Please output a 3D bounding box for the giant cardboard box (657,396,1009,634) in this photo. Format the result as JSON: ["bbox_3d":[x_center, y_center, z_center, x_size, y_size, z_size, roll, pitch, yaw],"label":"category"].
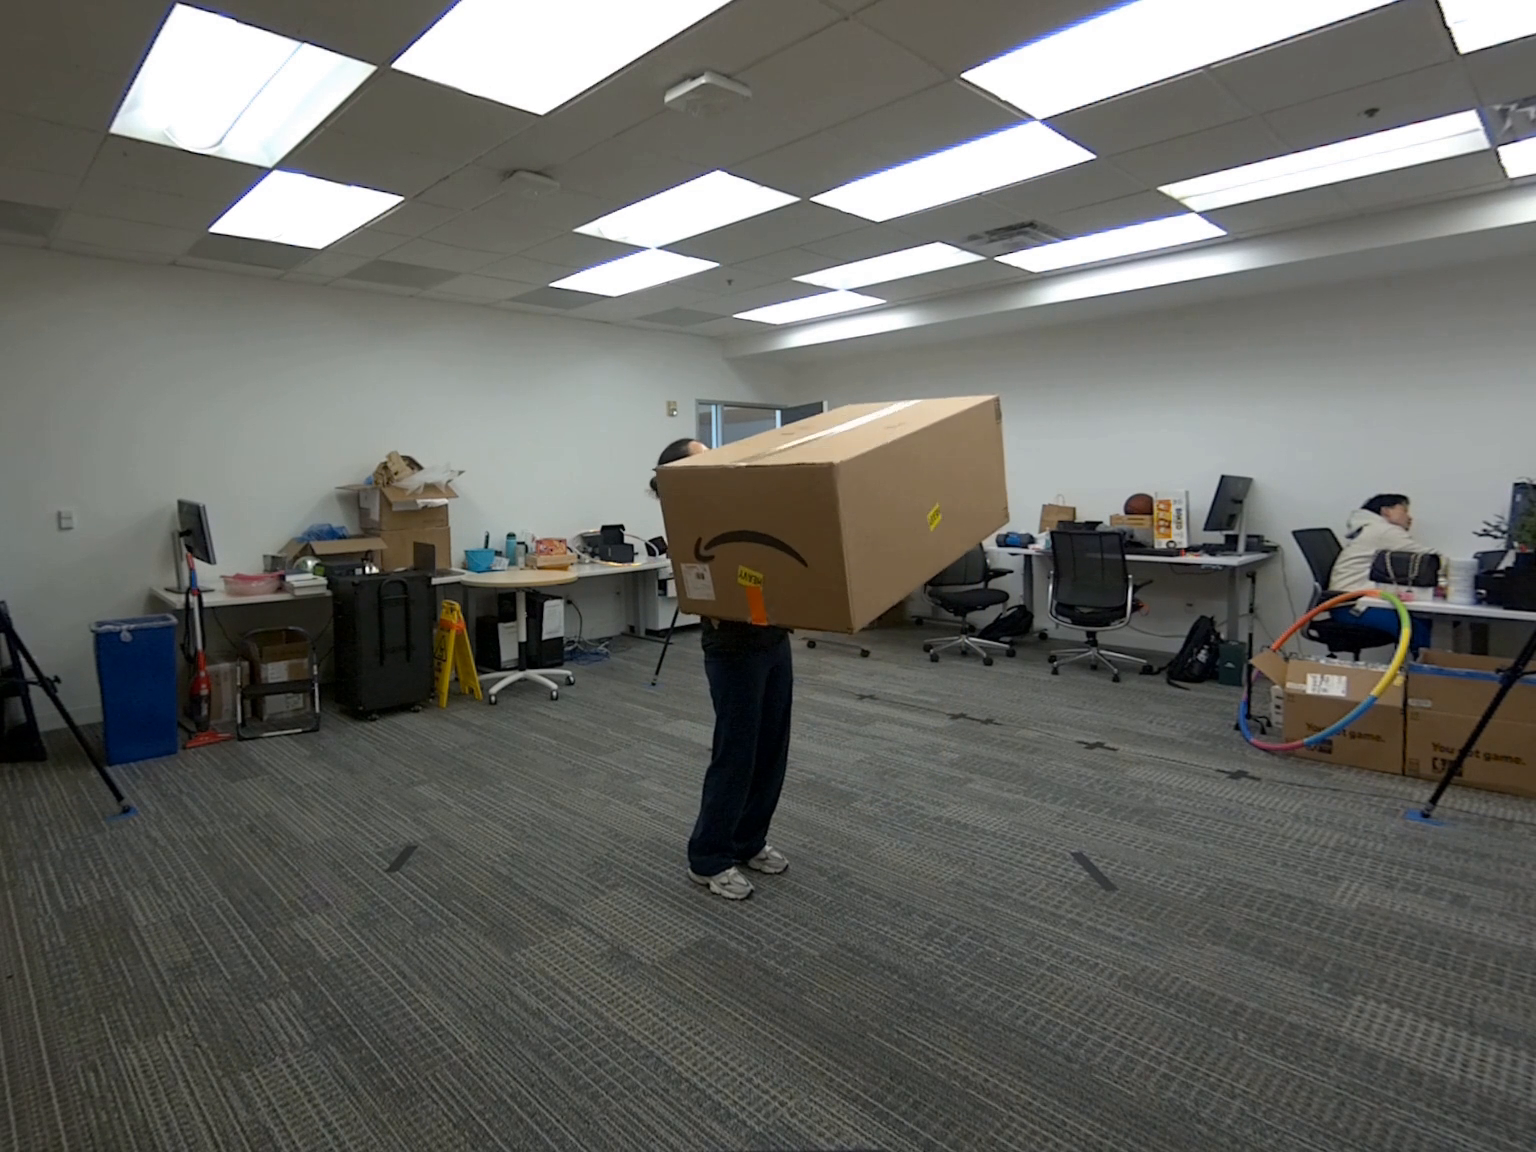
[{"bbox_3d":[0.239,-0.236,2.580,0.594,0.420,1.011,3,20,37],"label":"giant cardboard box"}]
